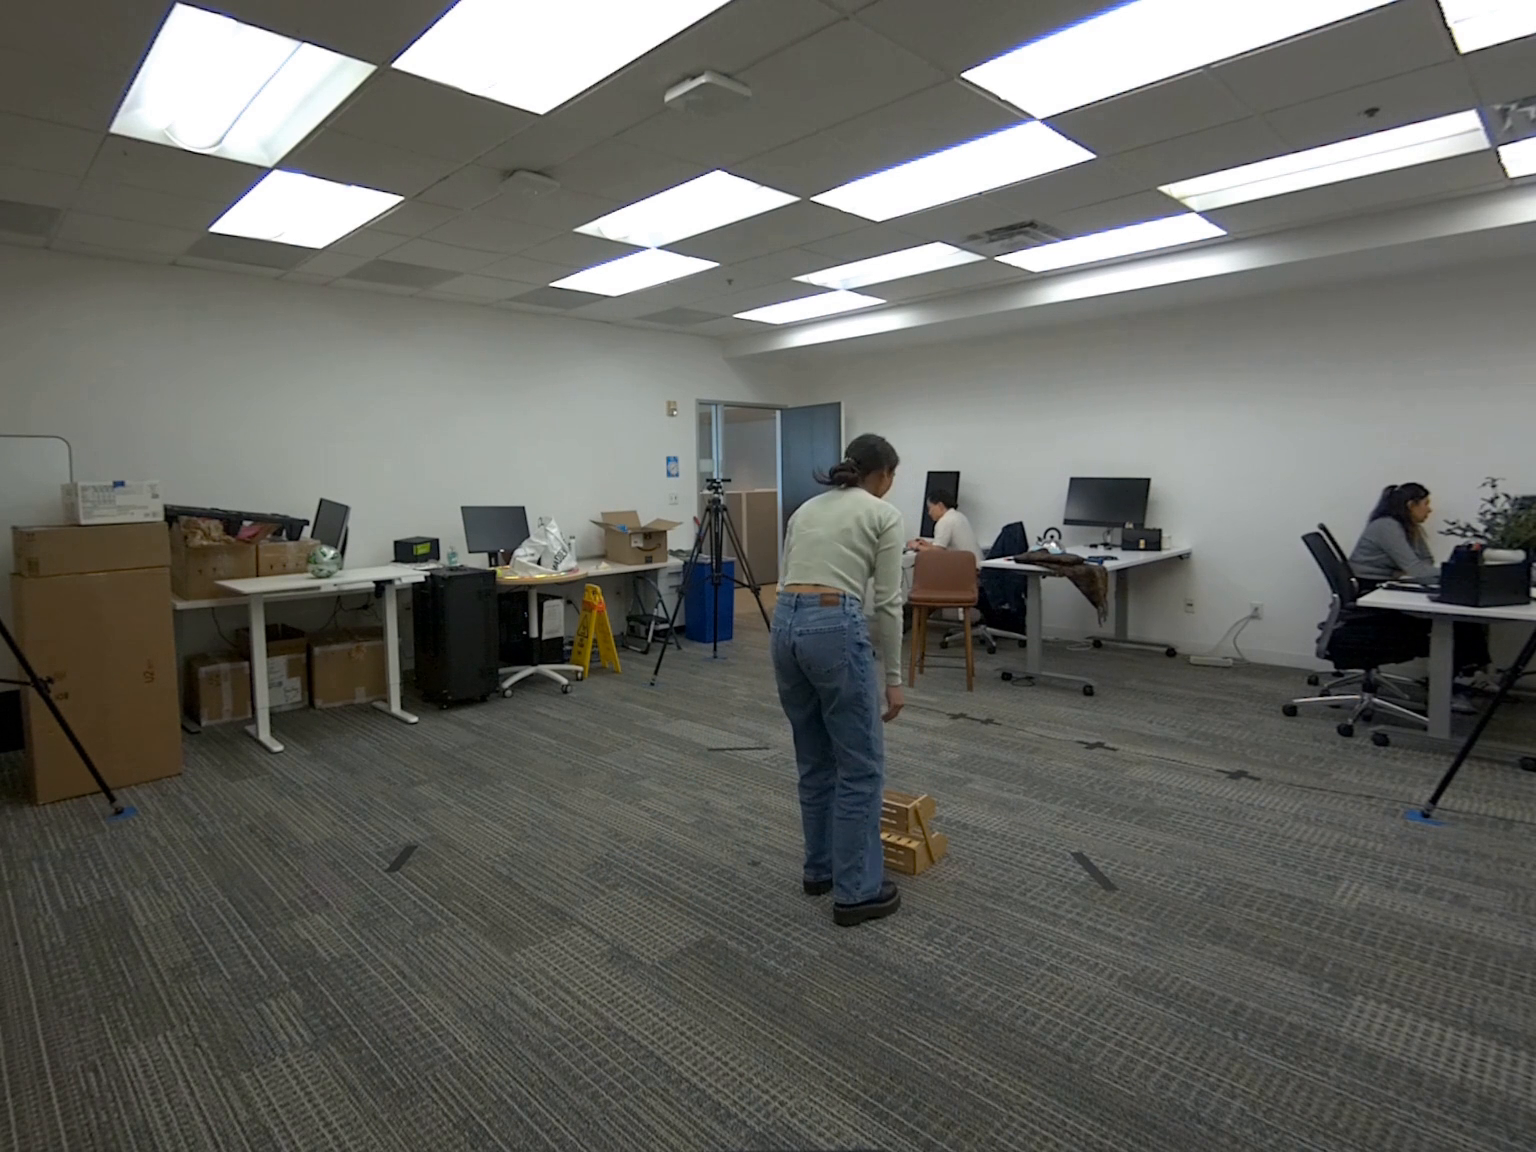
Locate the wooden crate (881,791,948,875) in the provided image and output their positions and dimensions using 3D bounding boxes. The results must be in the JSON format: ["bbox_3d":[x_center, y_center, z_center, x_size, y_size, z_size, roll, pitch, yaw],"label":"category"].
[{"bbox_3d":[0.457,0.895,3.150,0.334,0.272,0.294,3,7,38],"label":"wooden crate"}]
